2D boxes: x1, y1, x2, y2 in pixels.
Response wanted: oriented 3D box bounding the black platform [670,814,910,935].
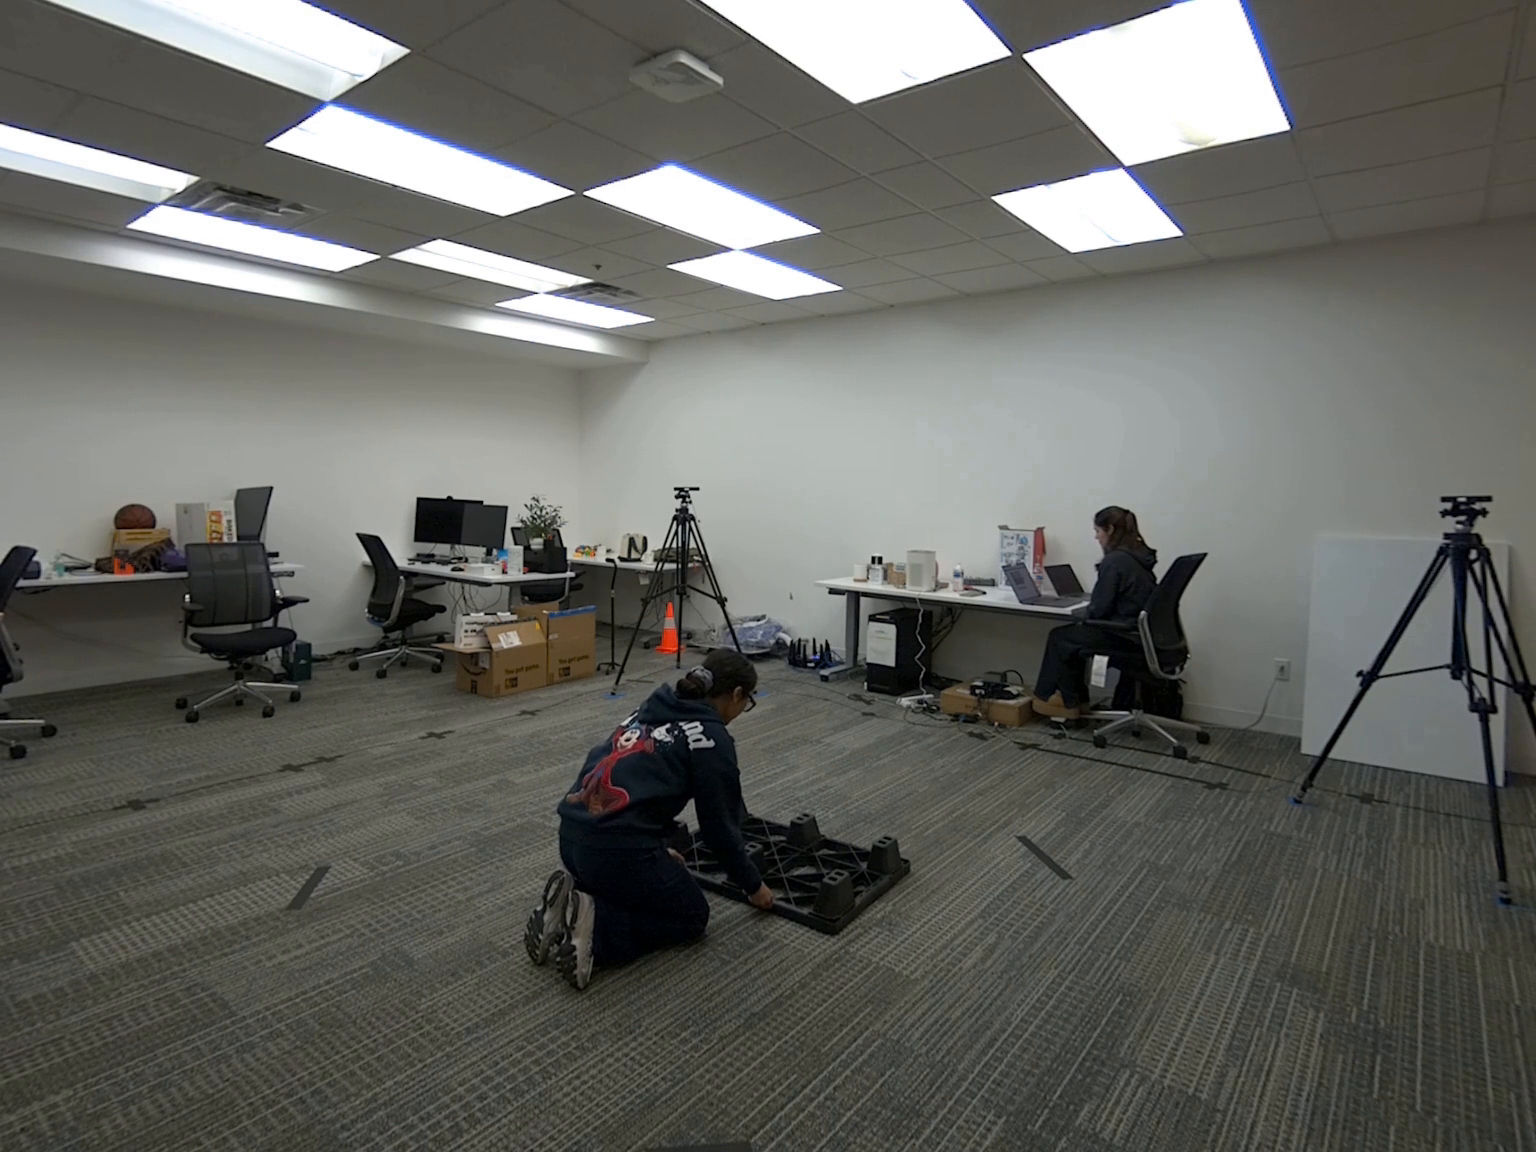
[{"bbox_3d":[0.022,1.004,3.118,0.831,0.143,0.588,5,6,34],"label":"black platform"}]
